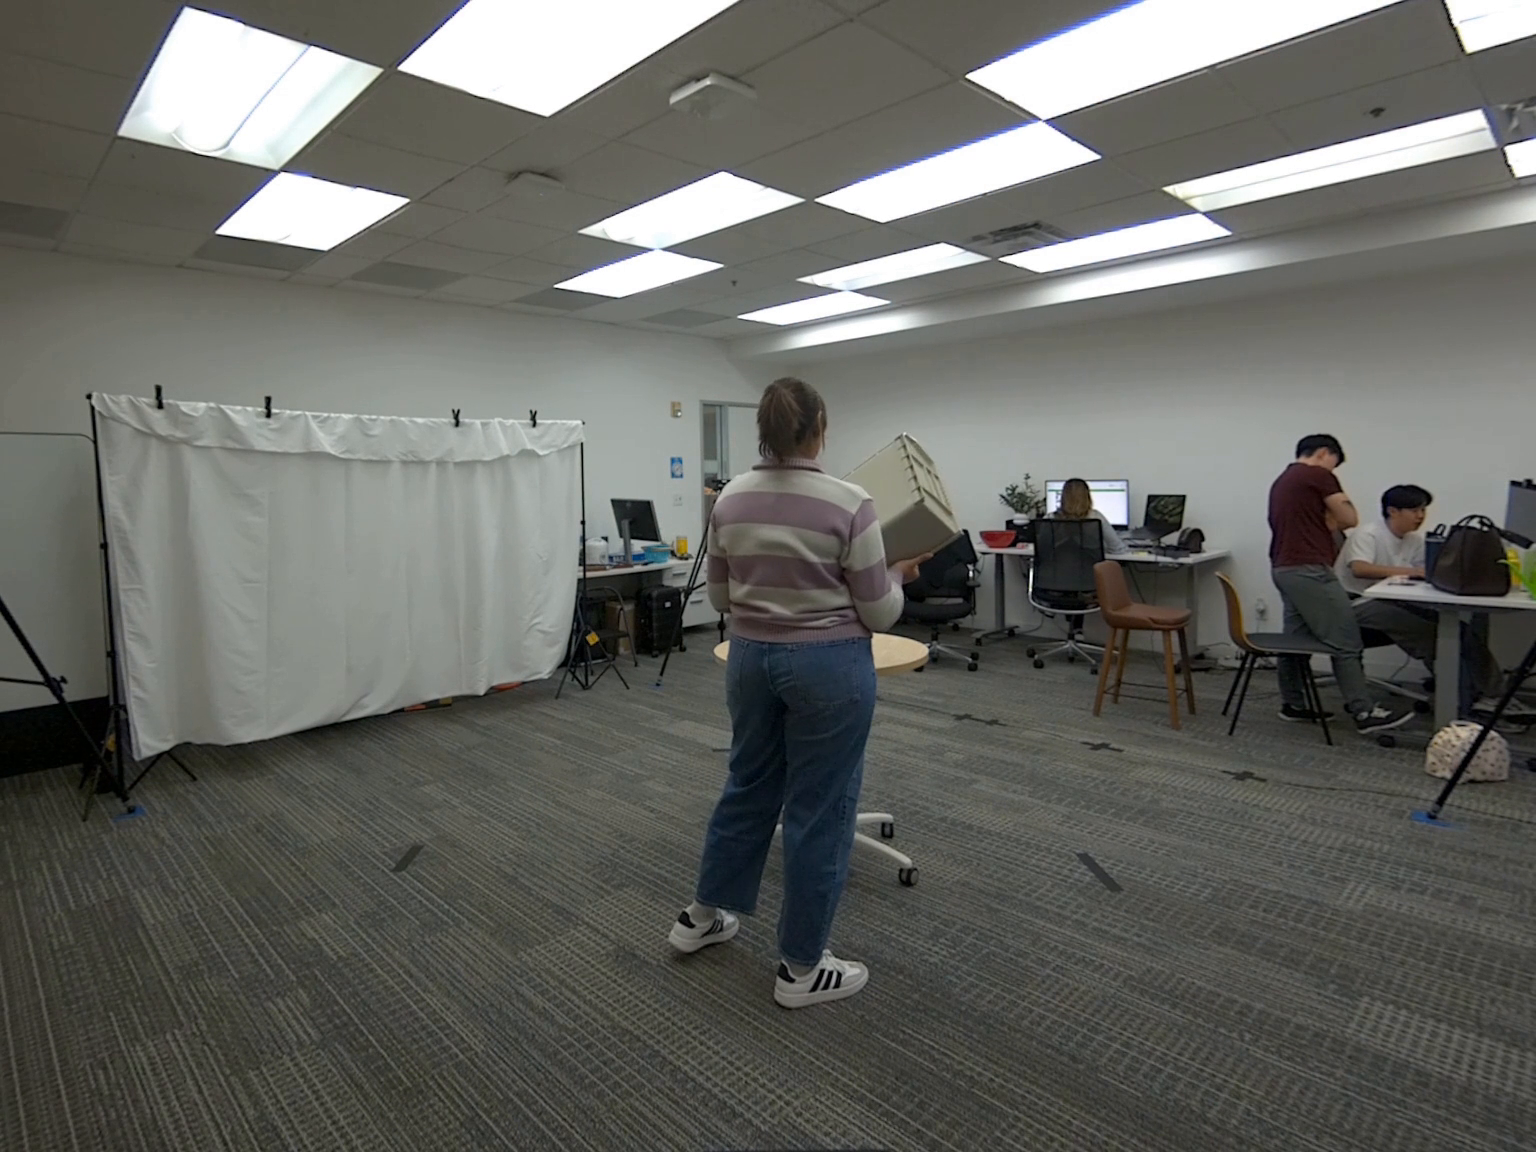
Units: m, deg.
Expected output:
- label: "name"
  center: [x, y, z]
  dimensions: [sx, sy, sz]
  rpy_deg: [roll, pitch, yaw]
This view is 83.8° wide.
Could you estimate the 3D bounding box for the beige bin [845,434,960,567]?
- label: "beige bin"
  center: [0.318, -0.177, 2.569]
  dimensions: [0.425, 0.388, 0.183]
  rpy_deg: [-35, -56, 25]
